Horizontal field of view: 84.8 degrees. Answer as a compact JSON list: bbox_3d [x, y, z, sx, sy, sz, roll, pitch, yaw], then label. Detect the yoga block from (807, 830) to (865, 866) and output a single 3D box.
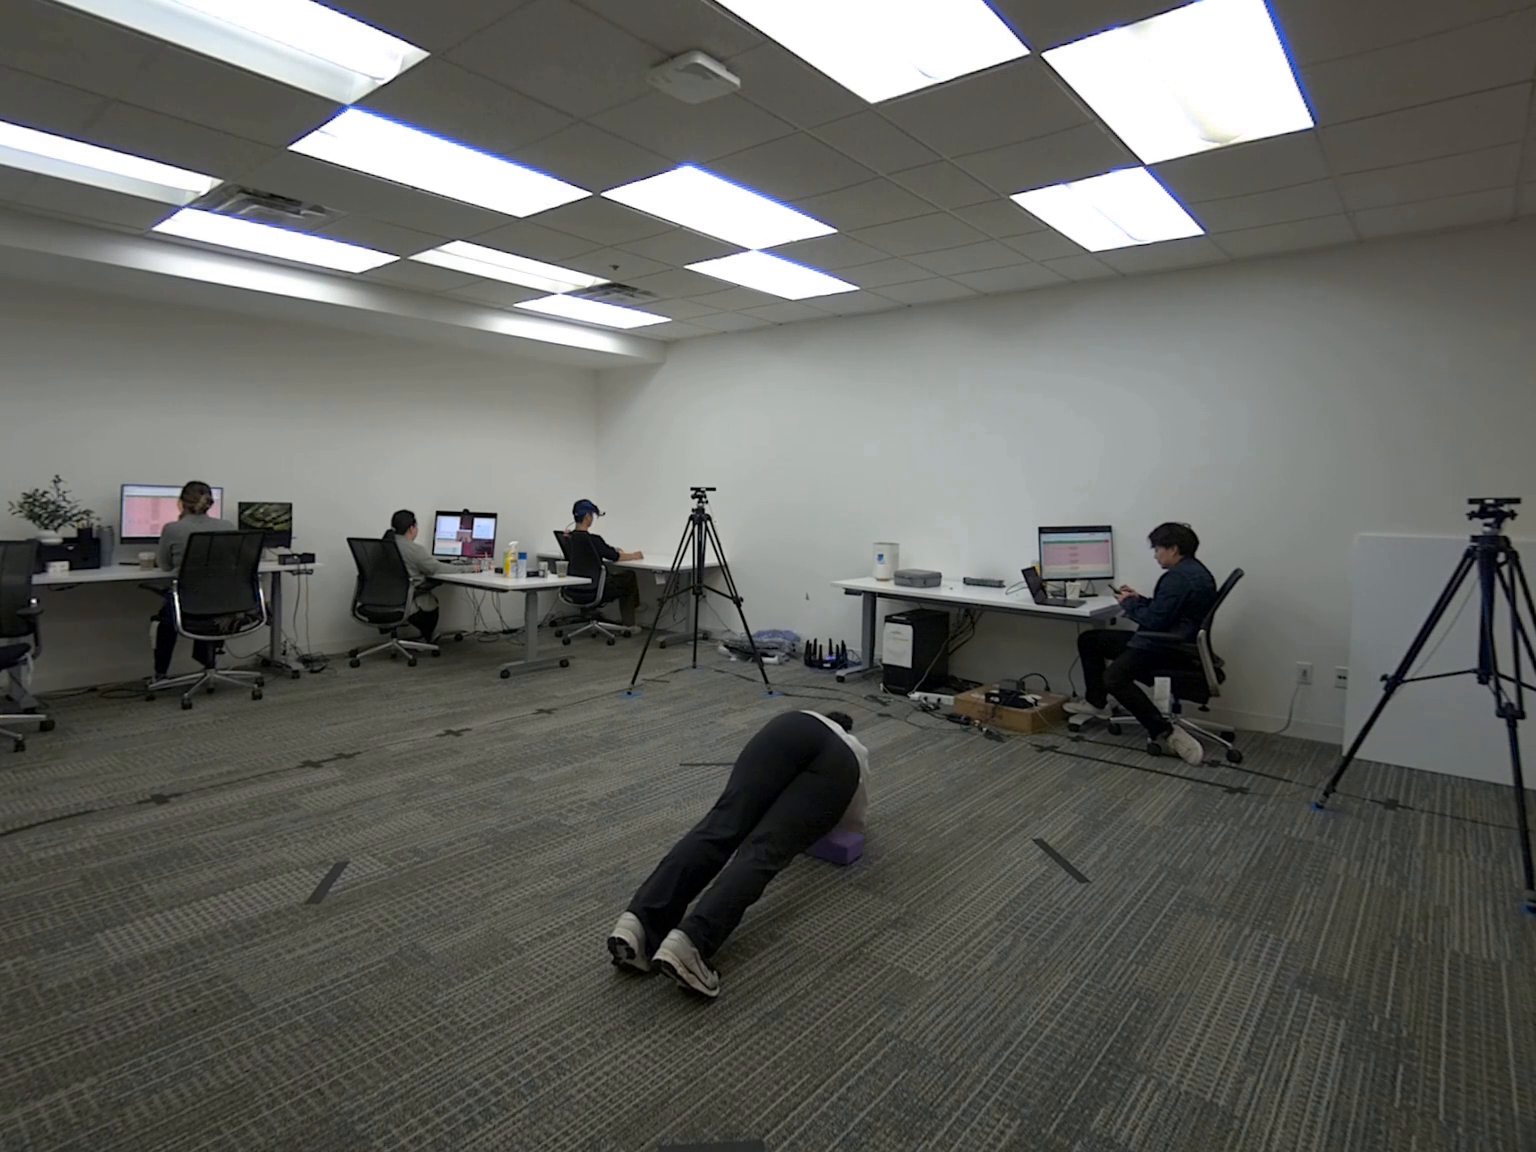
[{"bbox_3d":[0.232,1.014,3.269,0.237,0.076,0.145,4,5,35],"label":"yoga block"}]
